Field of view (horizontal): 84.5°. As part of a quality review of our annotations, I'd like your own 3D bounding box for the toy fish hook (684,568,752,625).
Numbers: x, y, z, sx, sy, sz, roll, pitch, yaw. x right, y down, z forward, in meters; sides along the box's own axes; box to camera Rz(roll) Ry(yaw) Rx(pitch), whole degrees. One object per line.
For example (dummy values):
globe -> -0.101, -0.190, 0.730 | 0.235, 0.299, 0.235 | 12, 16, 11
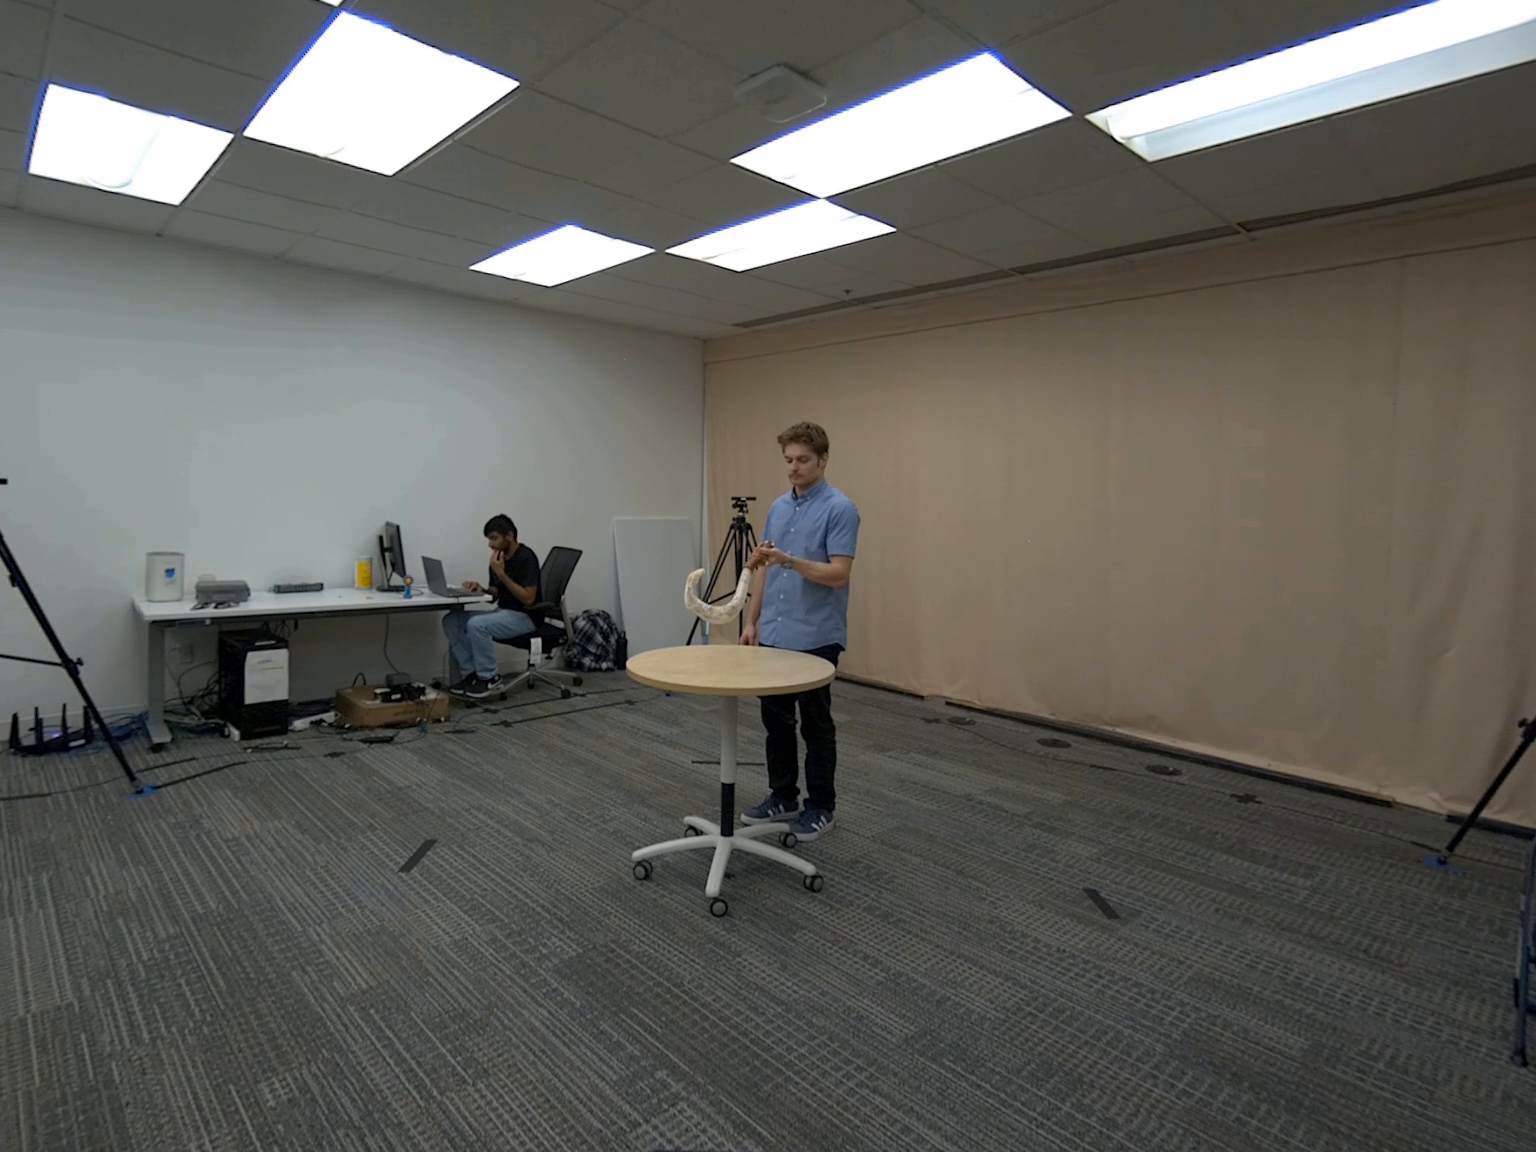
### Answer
toy fish hook -> -0.148, -0.019, 3.093 | 0.226, 0.048, 0.508 | 32, 45, 5
